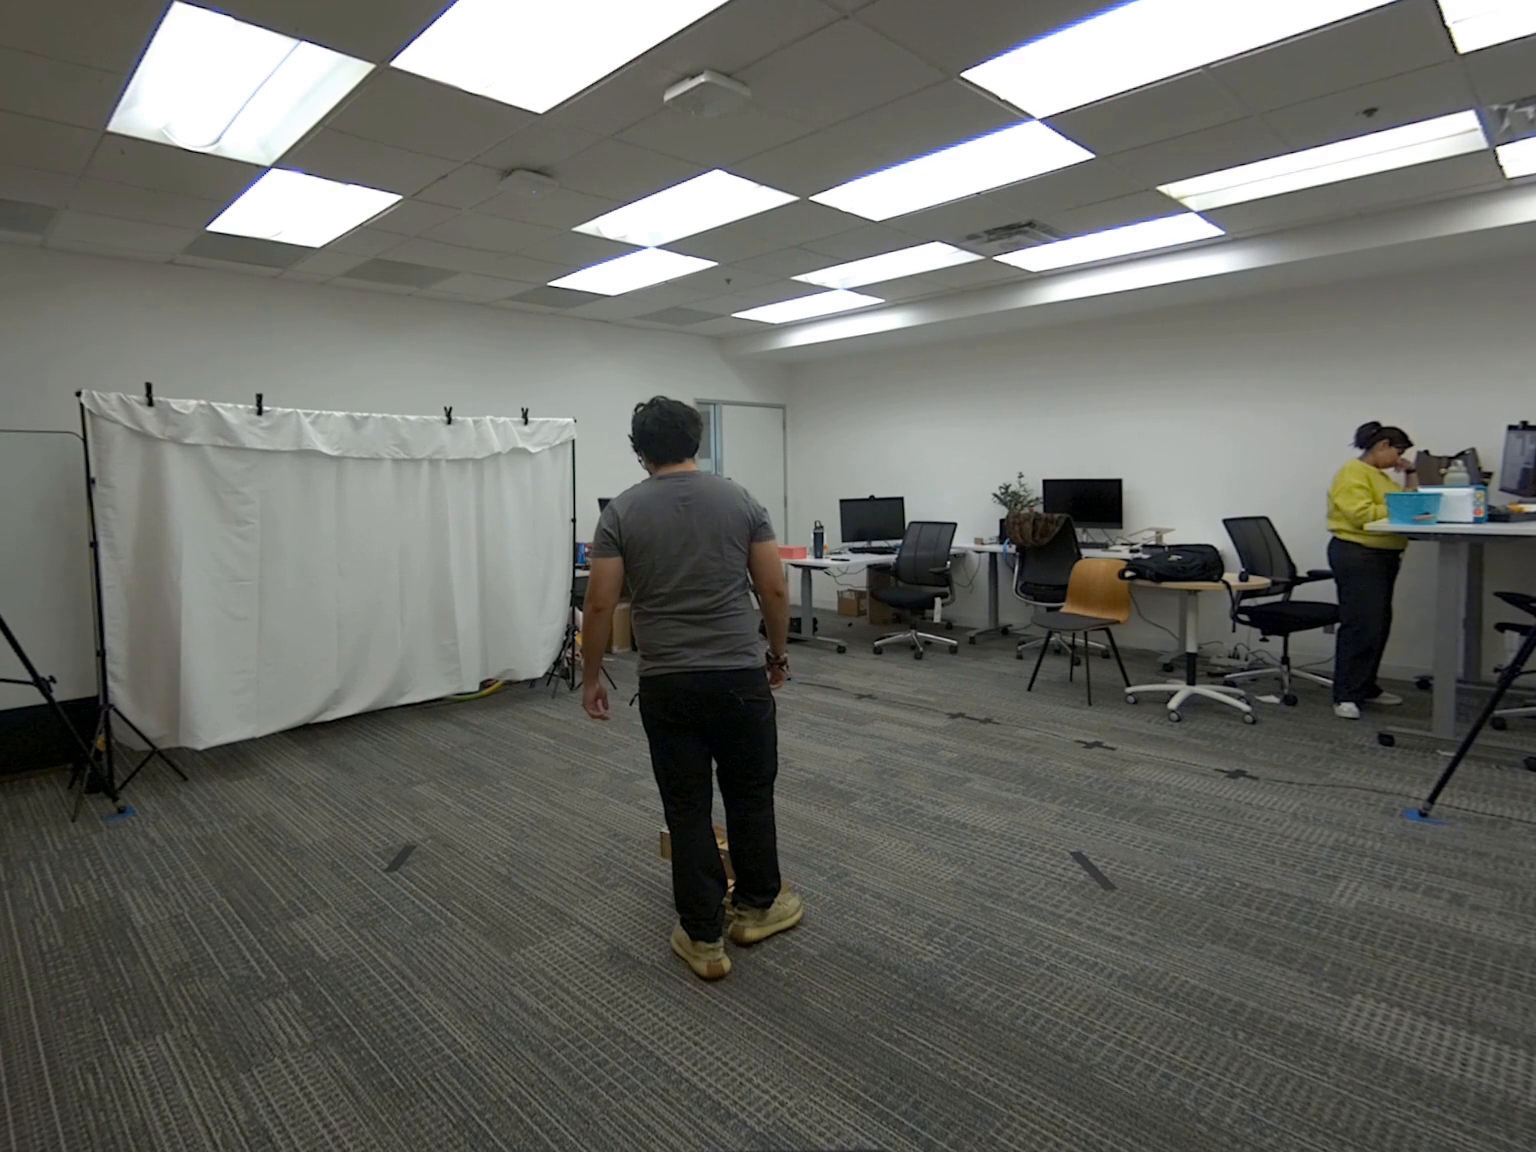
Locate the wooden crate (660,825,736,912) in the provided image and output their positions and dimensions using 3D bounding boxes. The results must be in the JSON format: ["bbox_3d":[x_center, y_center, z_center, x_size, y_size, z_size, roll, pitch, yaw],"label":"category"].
[{"bbox_3d":[-0.132,0.943,2.822,0.334,0.272,0.295,3,8,34],"label":"wooden crate"}]
